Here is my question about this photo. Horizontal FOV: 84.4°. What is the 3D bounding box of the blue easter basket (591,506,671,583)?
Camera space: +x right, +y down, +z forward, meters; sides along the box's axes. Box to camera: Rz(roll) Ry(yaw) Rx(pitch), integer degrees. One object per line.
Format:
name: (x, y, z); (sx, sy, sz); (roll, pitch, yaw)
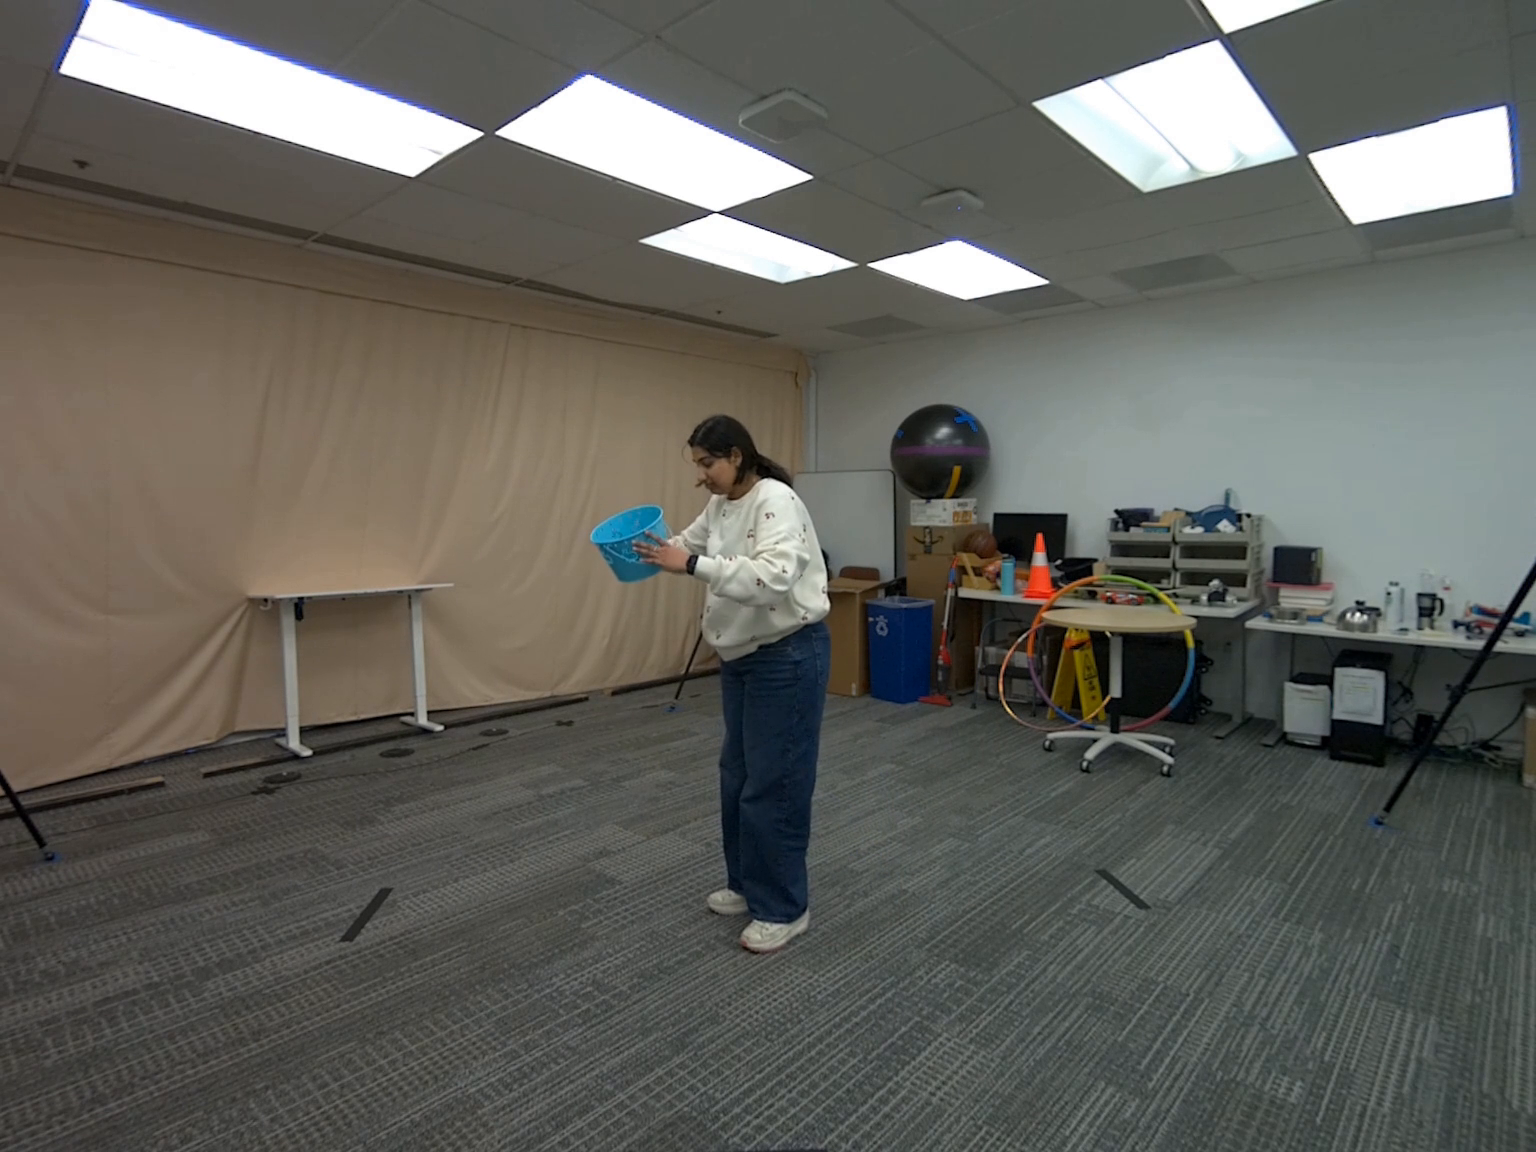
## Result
blue easter basket: (-0.394, -0.090, 2.556); (0.245, 0.153, 0.247); (-18, 23, 6)
